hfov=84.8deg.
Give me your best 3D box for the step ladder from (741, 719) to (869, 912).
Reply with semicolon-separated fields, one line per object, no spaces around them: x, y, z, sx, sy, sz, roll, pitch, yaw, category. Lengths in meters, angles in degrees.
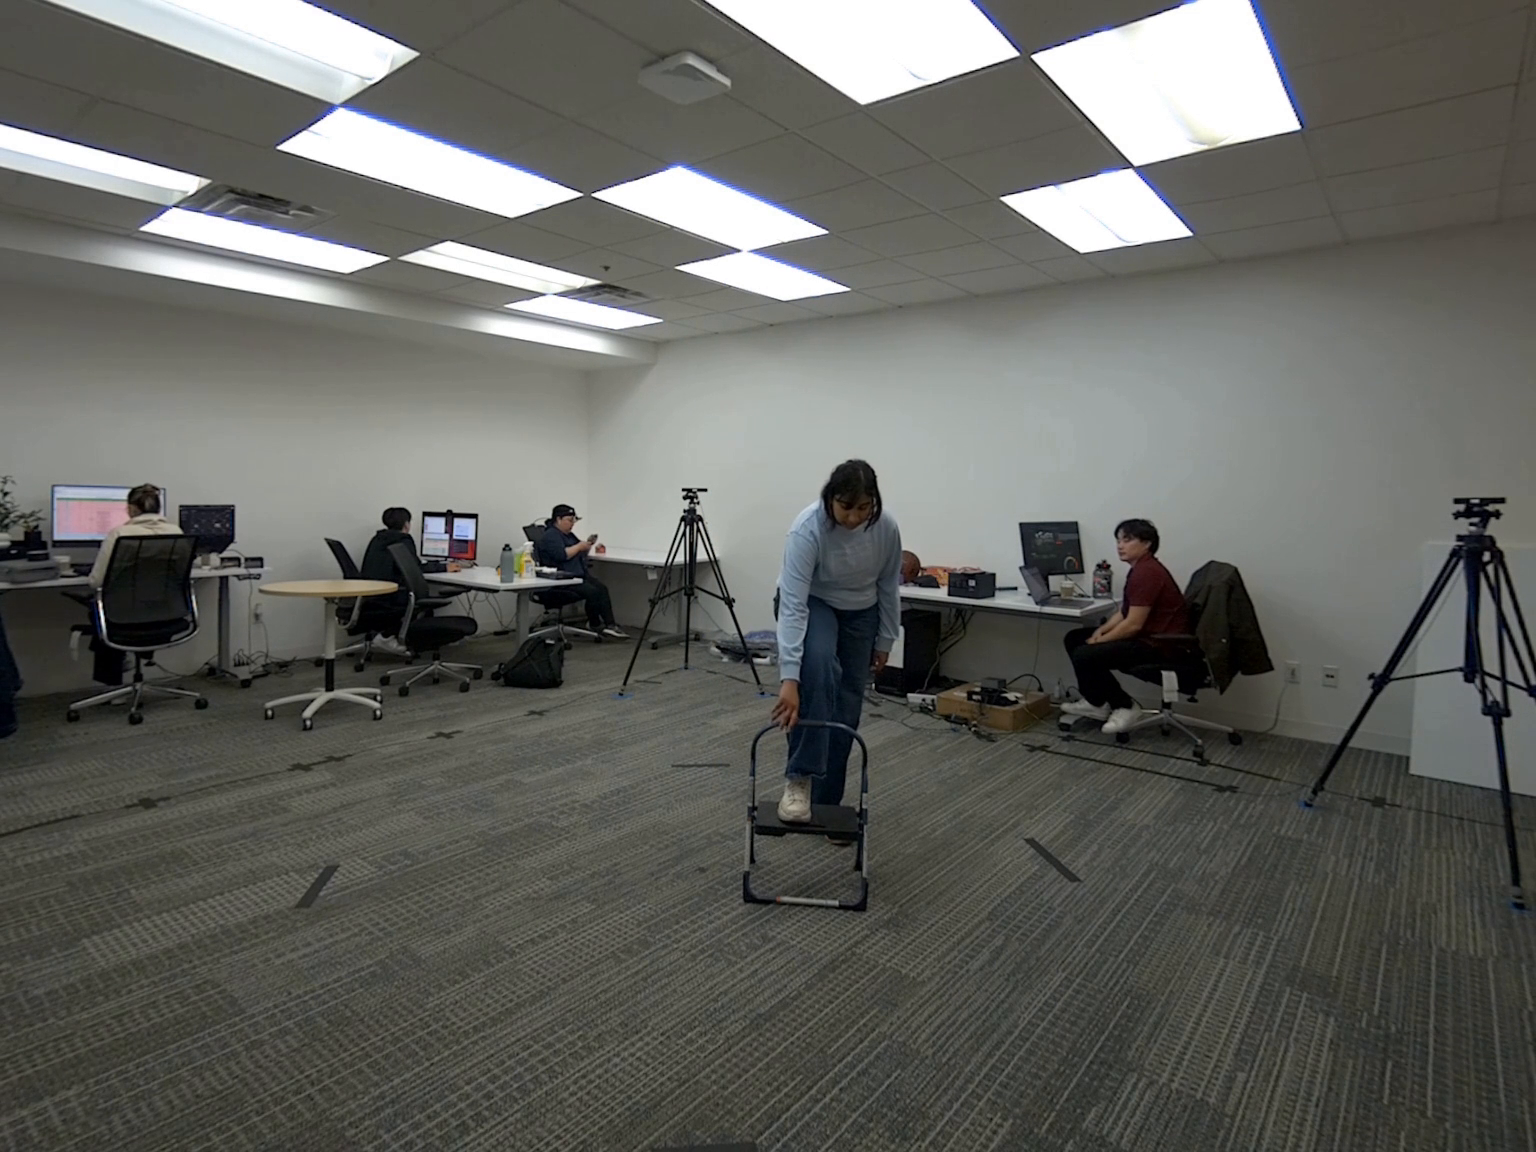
0.126;0.788;2.994;0.433;0.604;0.348;1;3;4;step ladder
